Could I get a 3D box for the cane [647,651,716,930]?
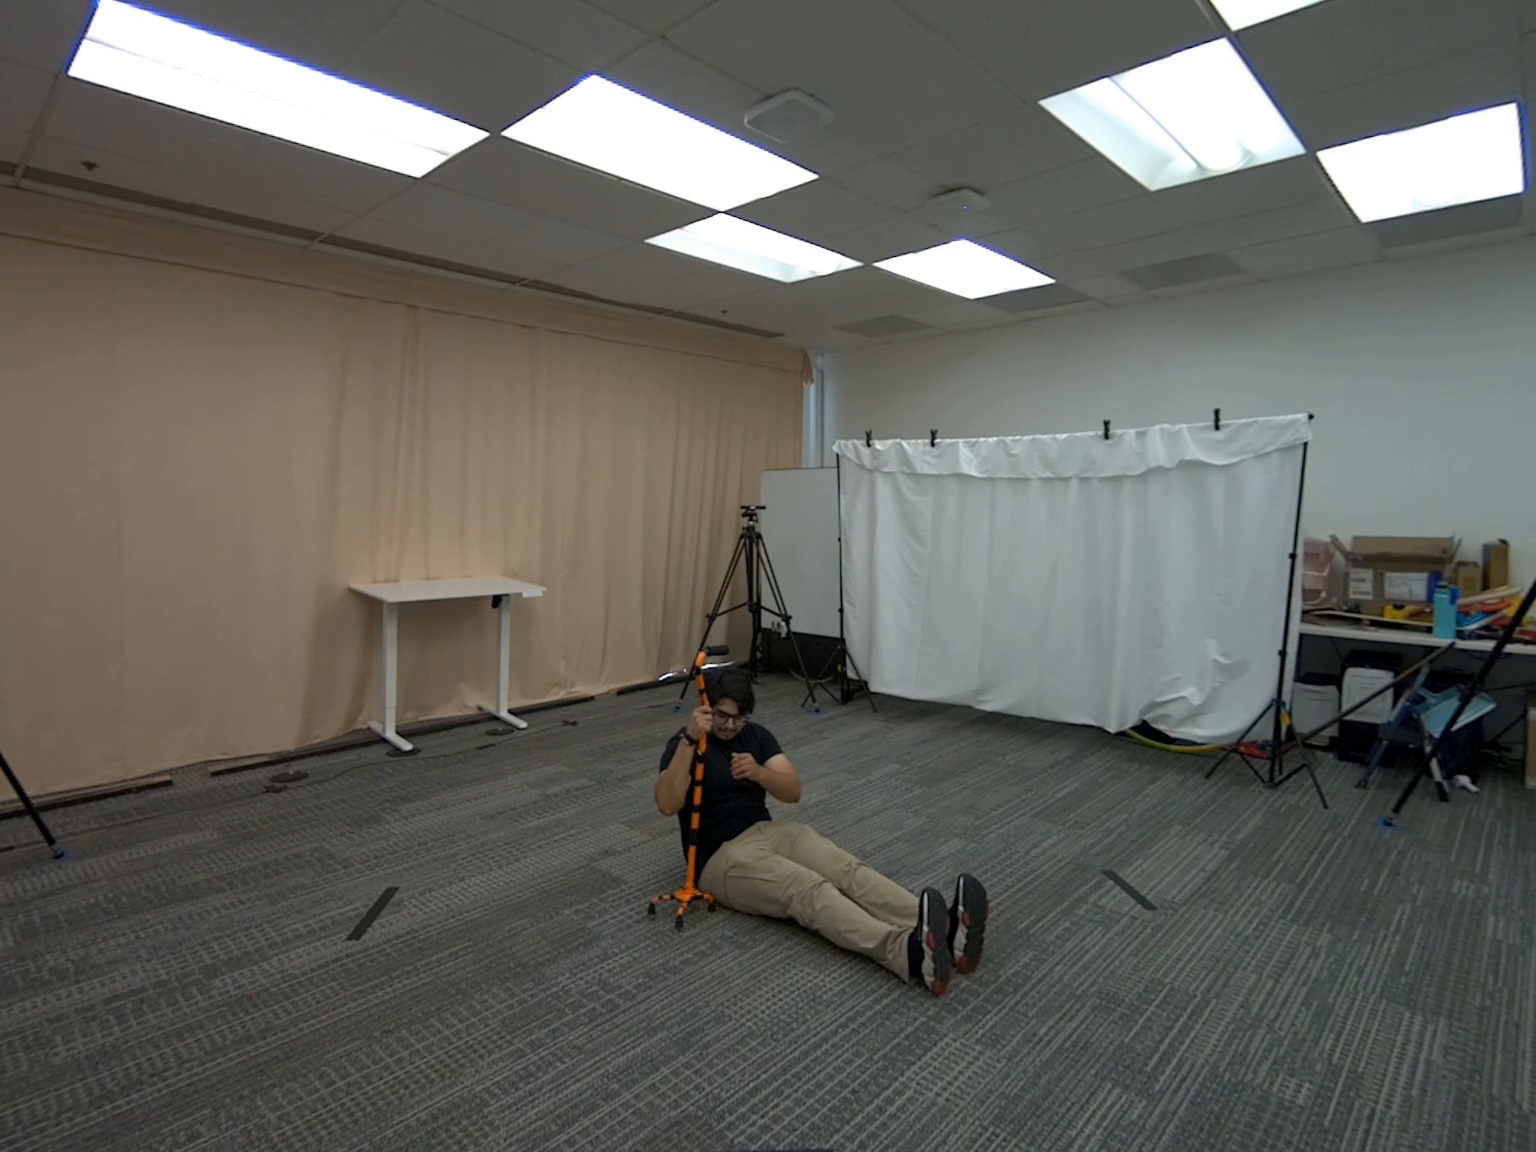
[{"bbox_3d":[-0.254,0.689,2.858,0.157,0.907,0.200,6,2,40],"label":"cane"}]
